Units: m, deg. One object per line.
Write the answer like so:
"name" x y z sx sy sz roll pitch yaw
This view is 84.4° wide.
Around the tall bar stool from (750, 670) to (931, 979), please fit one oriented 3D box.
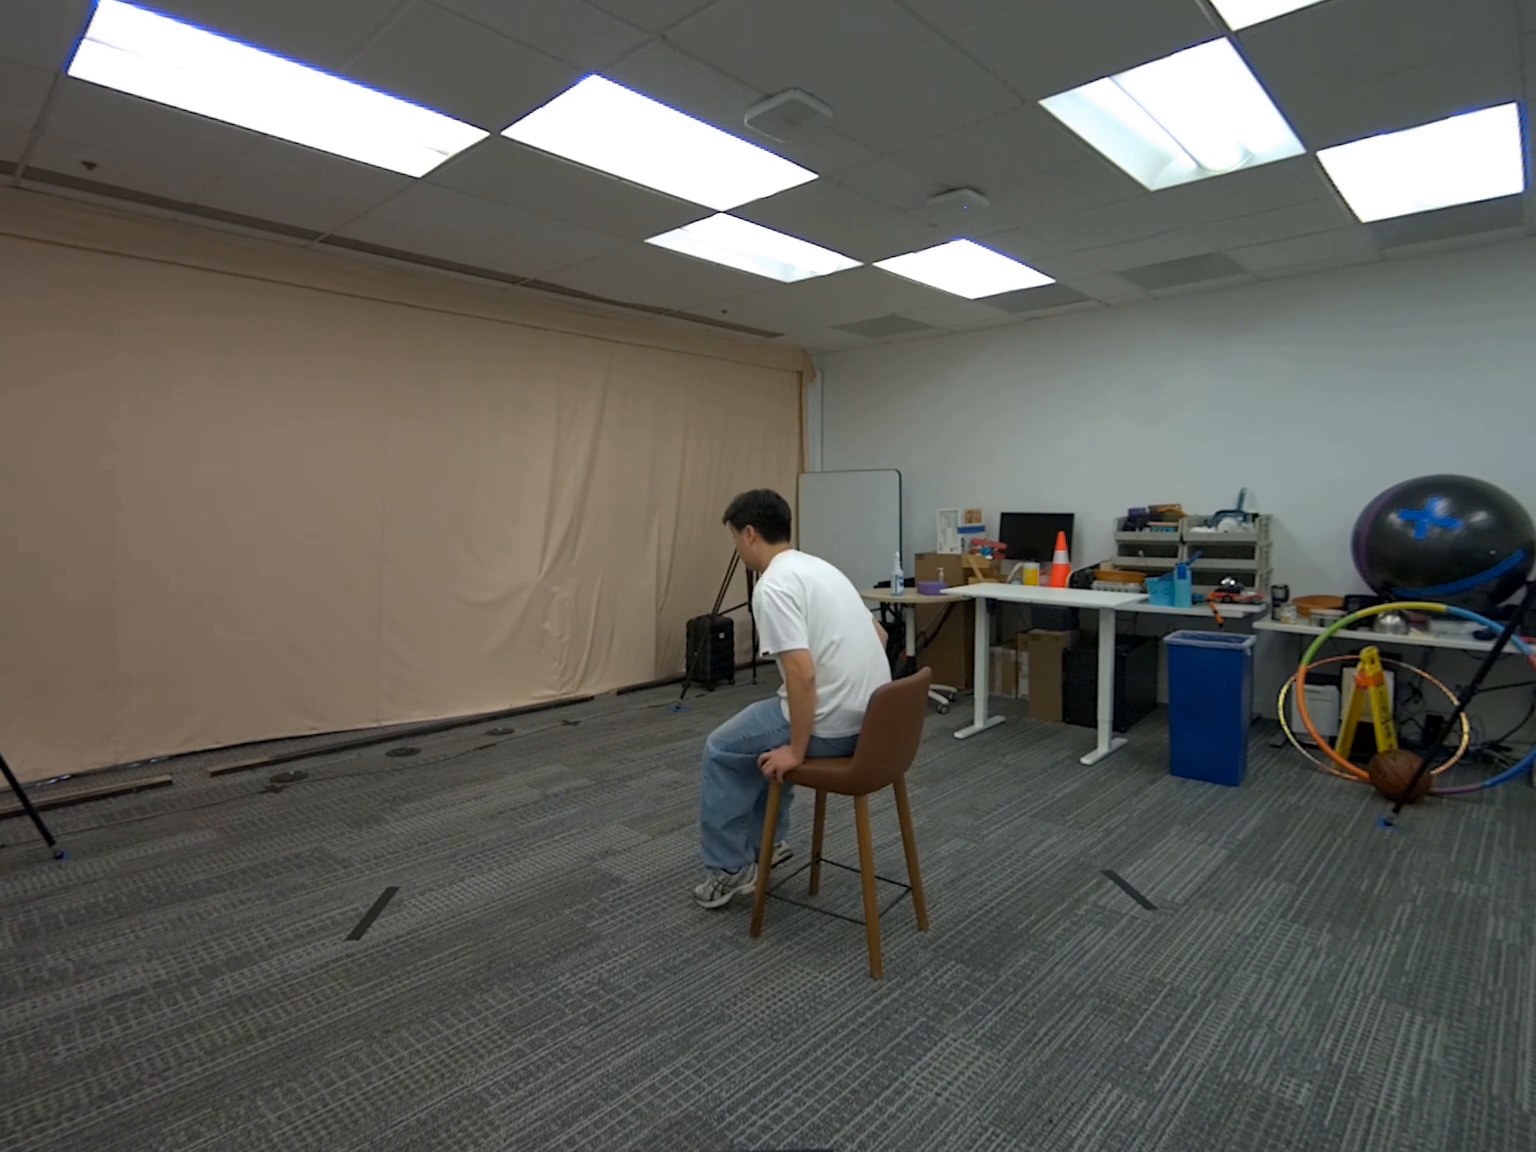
"tall bar stool" 0.254 0.732 2.713 0.482 0.887 0.444 5 7 34
